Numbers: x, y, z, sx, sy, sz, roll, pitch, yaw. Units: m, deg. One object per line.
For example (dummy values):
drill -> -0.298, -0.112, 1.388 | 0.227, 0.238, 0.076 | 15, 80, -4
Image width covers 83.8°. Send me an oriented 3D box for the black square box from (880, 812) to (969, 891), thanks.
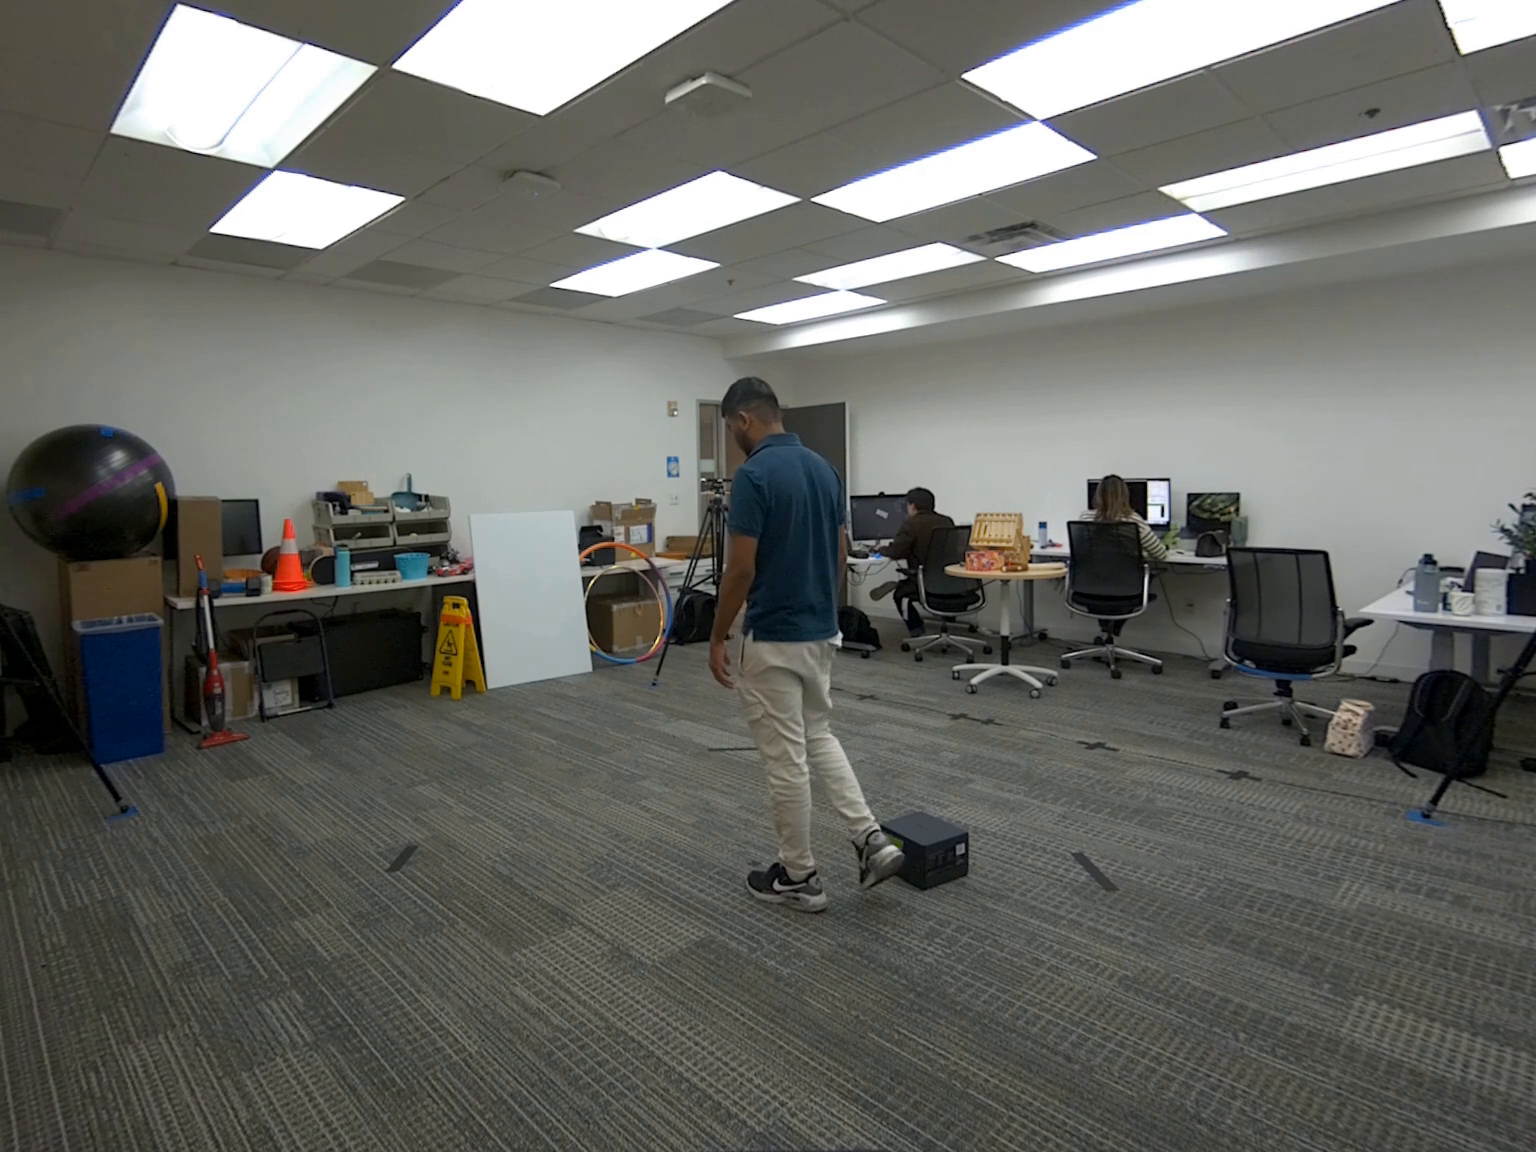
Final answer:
black square box -> 0.552, 0.962, 3.018 | 0.212, 0.155, 0.234 | -5, 7, -33
